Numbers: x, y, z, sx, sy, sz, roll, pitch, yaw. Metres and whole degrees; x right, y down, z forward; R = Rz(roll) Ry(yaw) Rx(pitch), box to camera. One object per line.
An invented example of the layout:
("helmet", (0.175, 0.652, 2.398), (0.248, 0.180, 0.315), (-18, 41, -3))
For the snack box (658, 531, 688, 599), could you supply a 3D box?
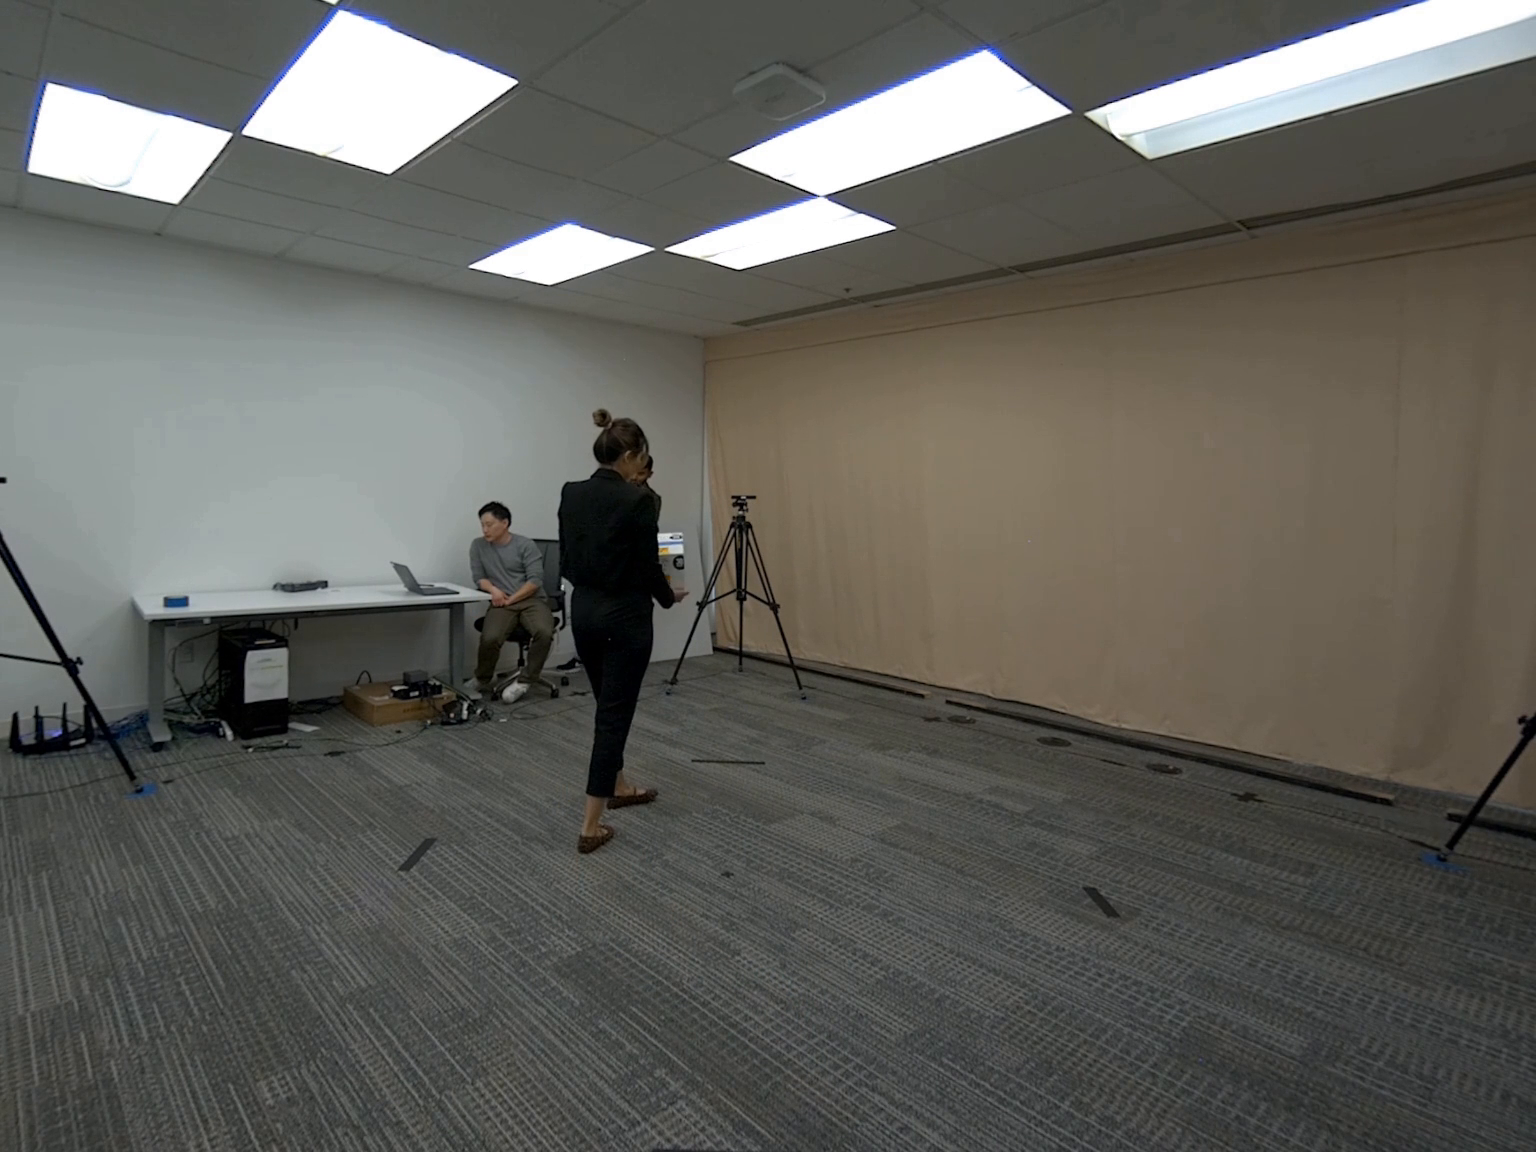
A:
("snack box", (-0.577, -0.047, 3.797), (0.403, 0.203, 0.346), (-3, 18, -5))
